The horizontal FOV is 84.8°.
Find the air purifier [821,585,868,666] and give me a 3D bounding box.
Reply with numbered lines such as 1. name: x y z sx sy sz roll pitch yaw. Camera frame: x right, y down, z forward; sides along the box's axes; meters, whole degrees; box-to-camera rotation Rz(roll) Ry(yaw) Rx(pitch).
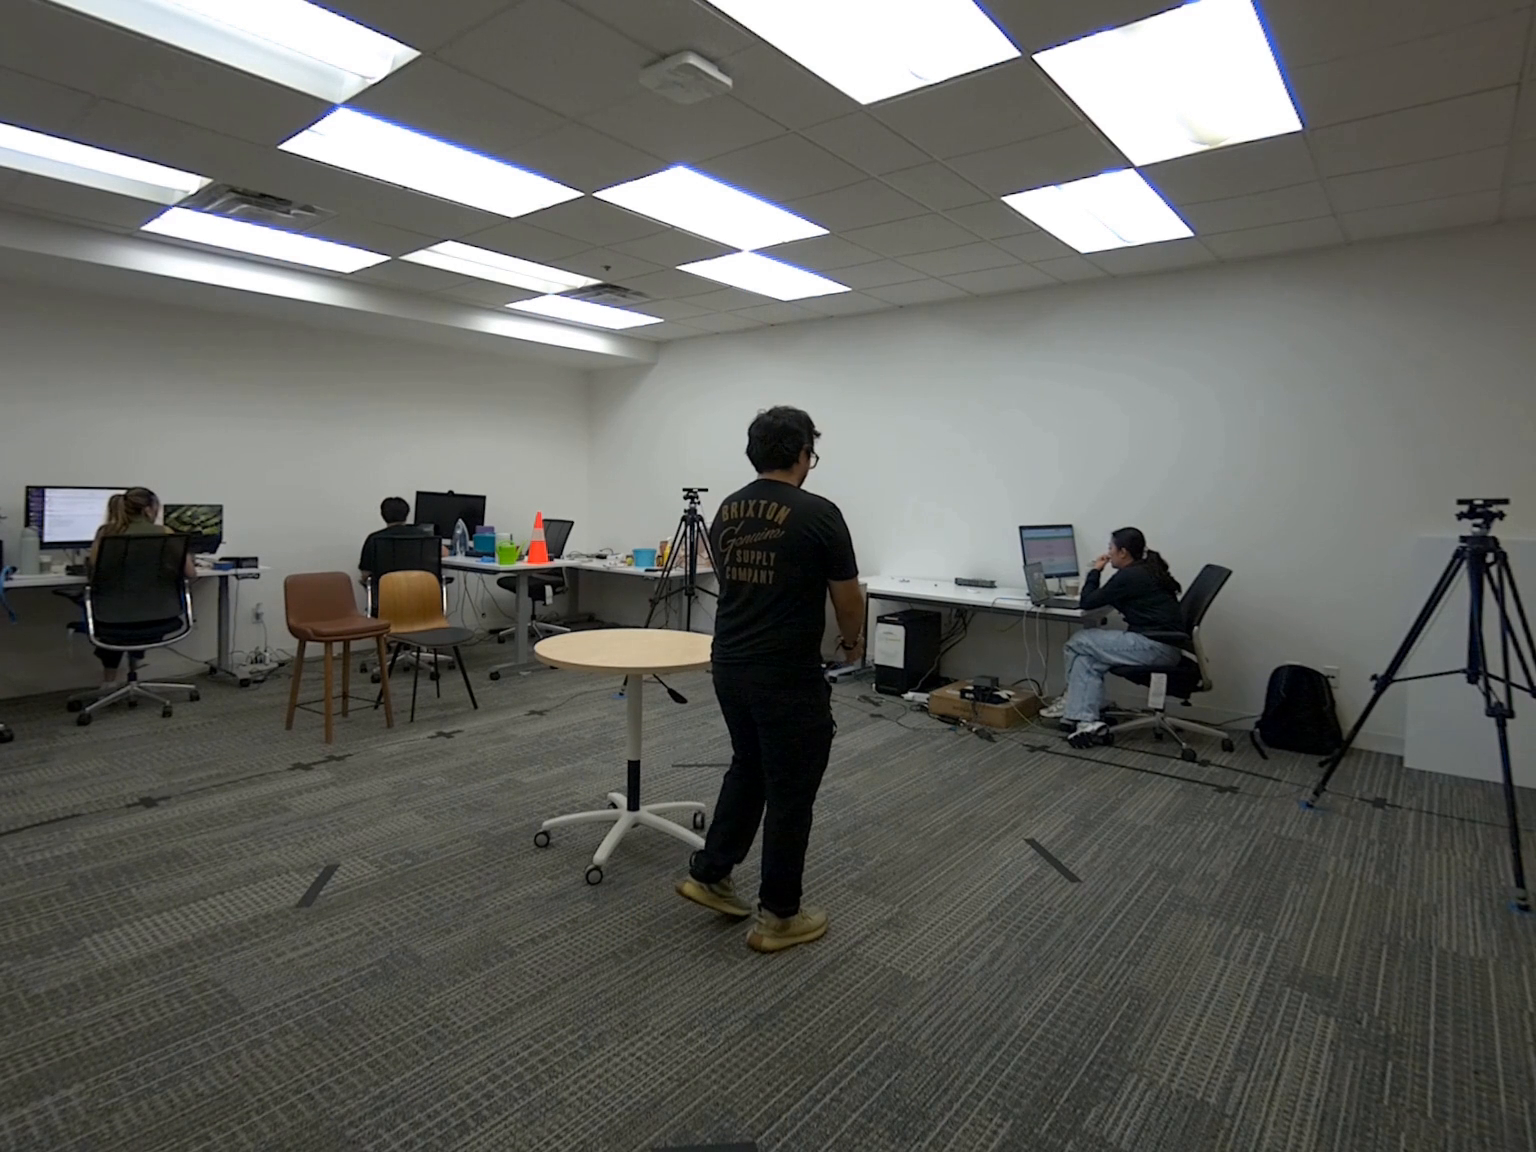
1. air purifier: 0.224 0.142 2.911 0.176 0.265 0.167 6 3 26
